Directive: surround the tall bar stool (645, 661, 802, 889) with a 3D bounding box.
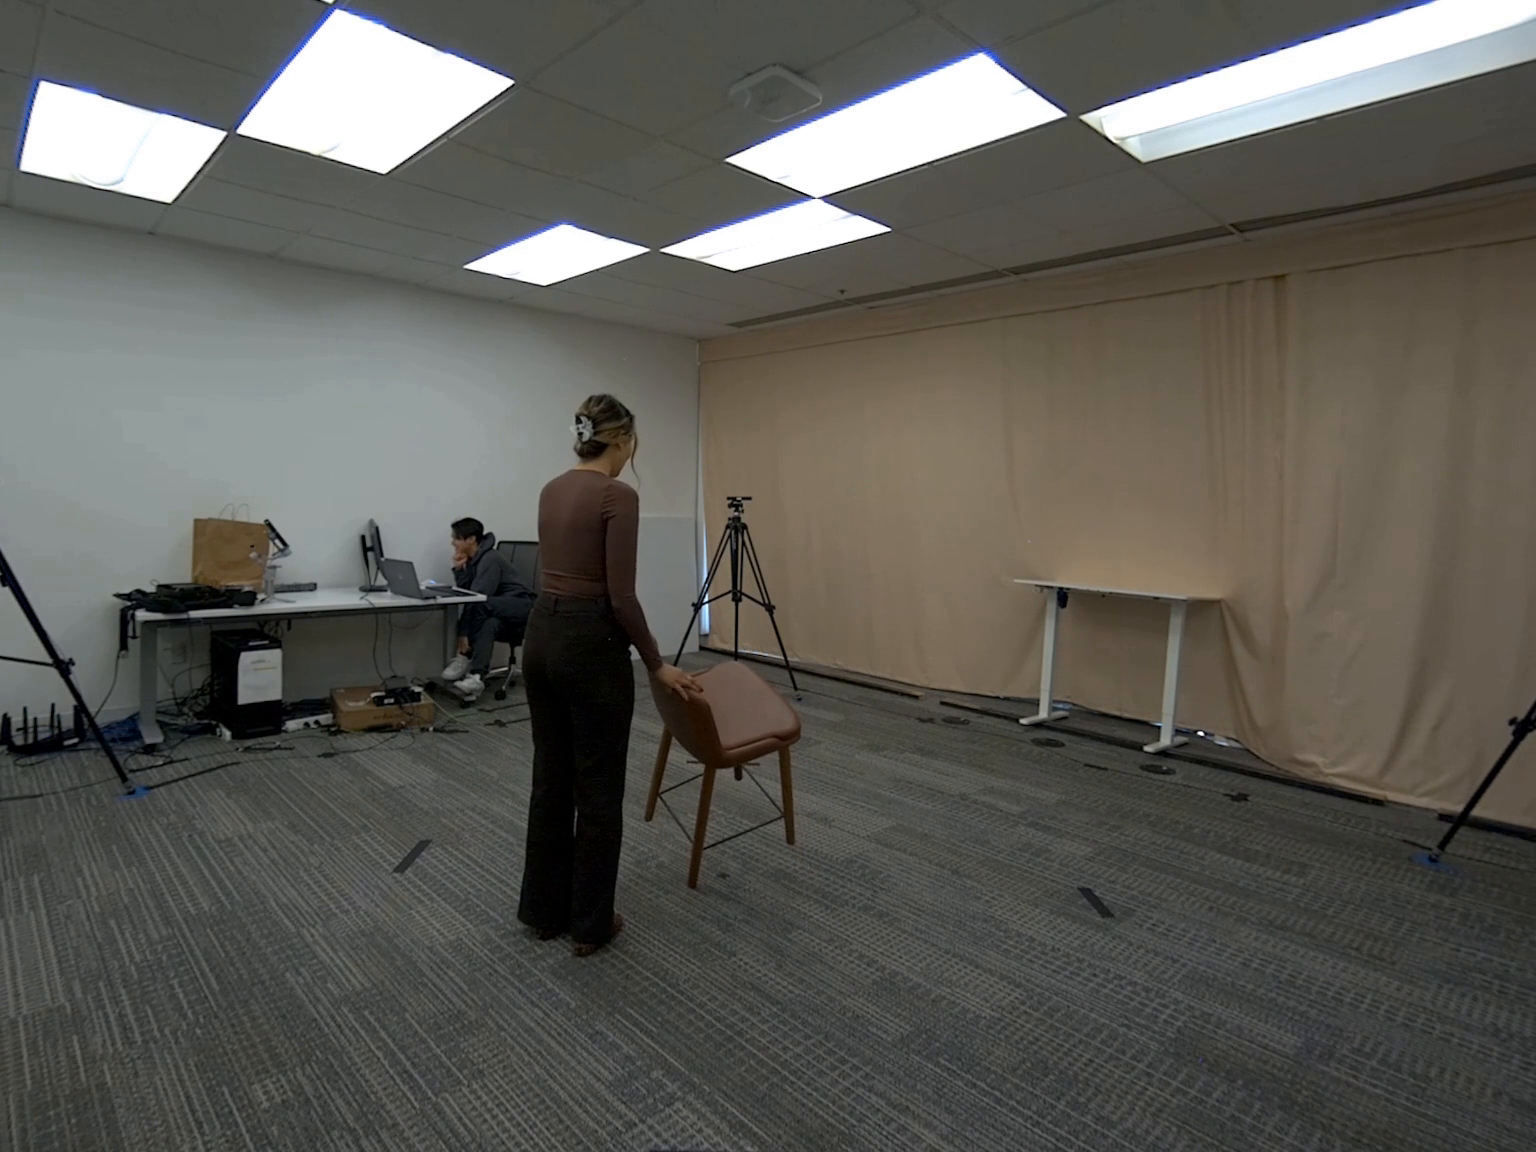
[{"bbox_3d":[-0.178,0.608,3.017,0.461,0.873,0.471,-17,35,-29],"label":"tall bar stool"}]
